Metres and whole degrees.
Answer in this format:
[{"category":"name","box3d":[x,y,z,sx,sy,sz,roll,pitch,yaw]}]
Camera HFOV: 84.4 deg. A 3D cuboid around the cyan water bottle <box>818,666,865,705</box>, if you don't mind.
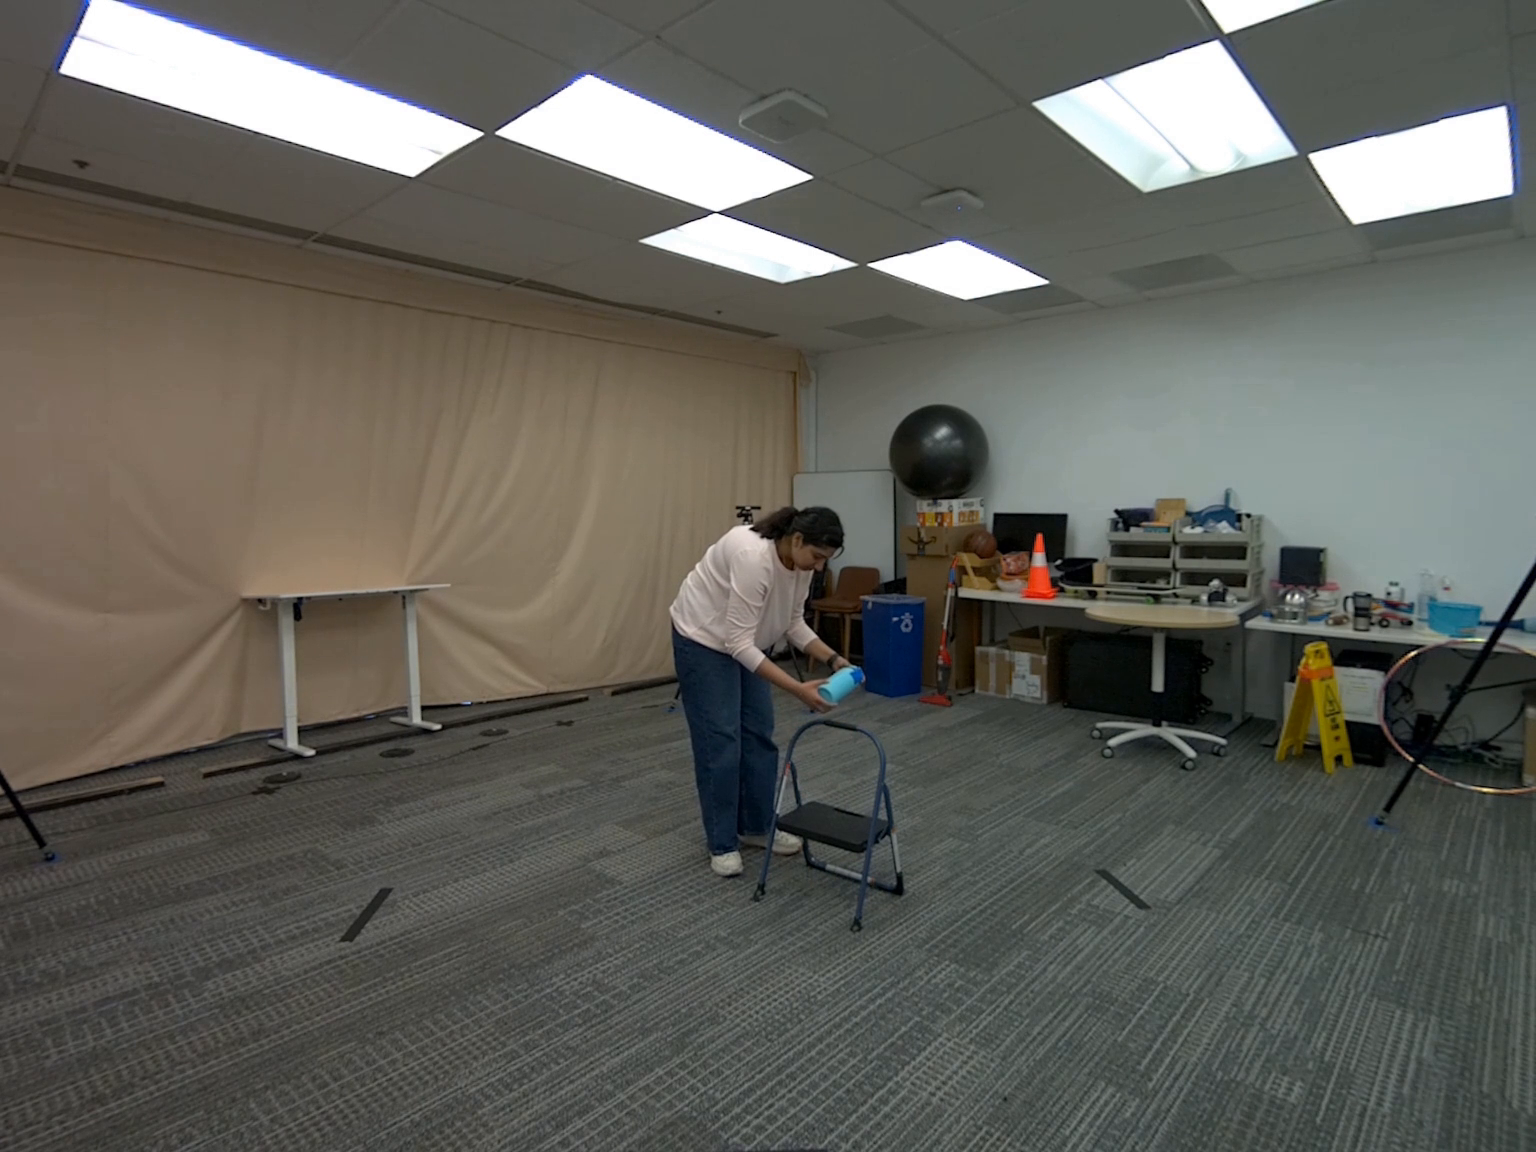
[{"category":"cyan water bottle","box3d":[0.275,0.411,3.159,0.095,0.091,0.278,2,14,27]}]
